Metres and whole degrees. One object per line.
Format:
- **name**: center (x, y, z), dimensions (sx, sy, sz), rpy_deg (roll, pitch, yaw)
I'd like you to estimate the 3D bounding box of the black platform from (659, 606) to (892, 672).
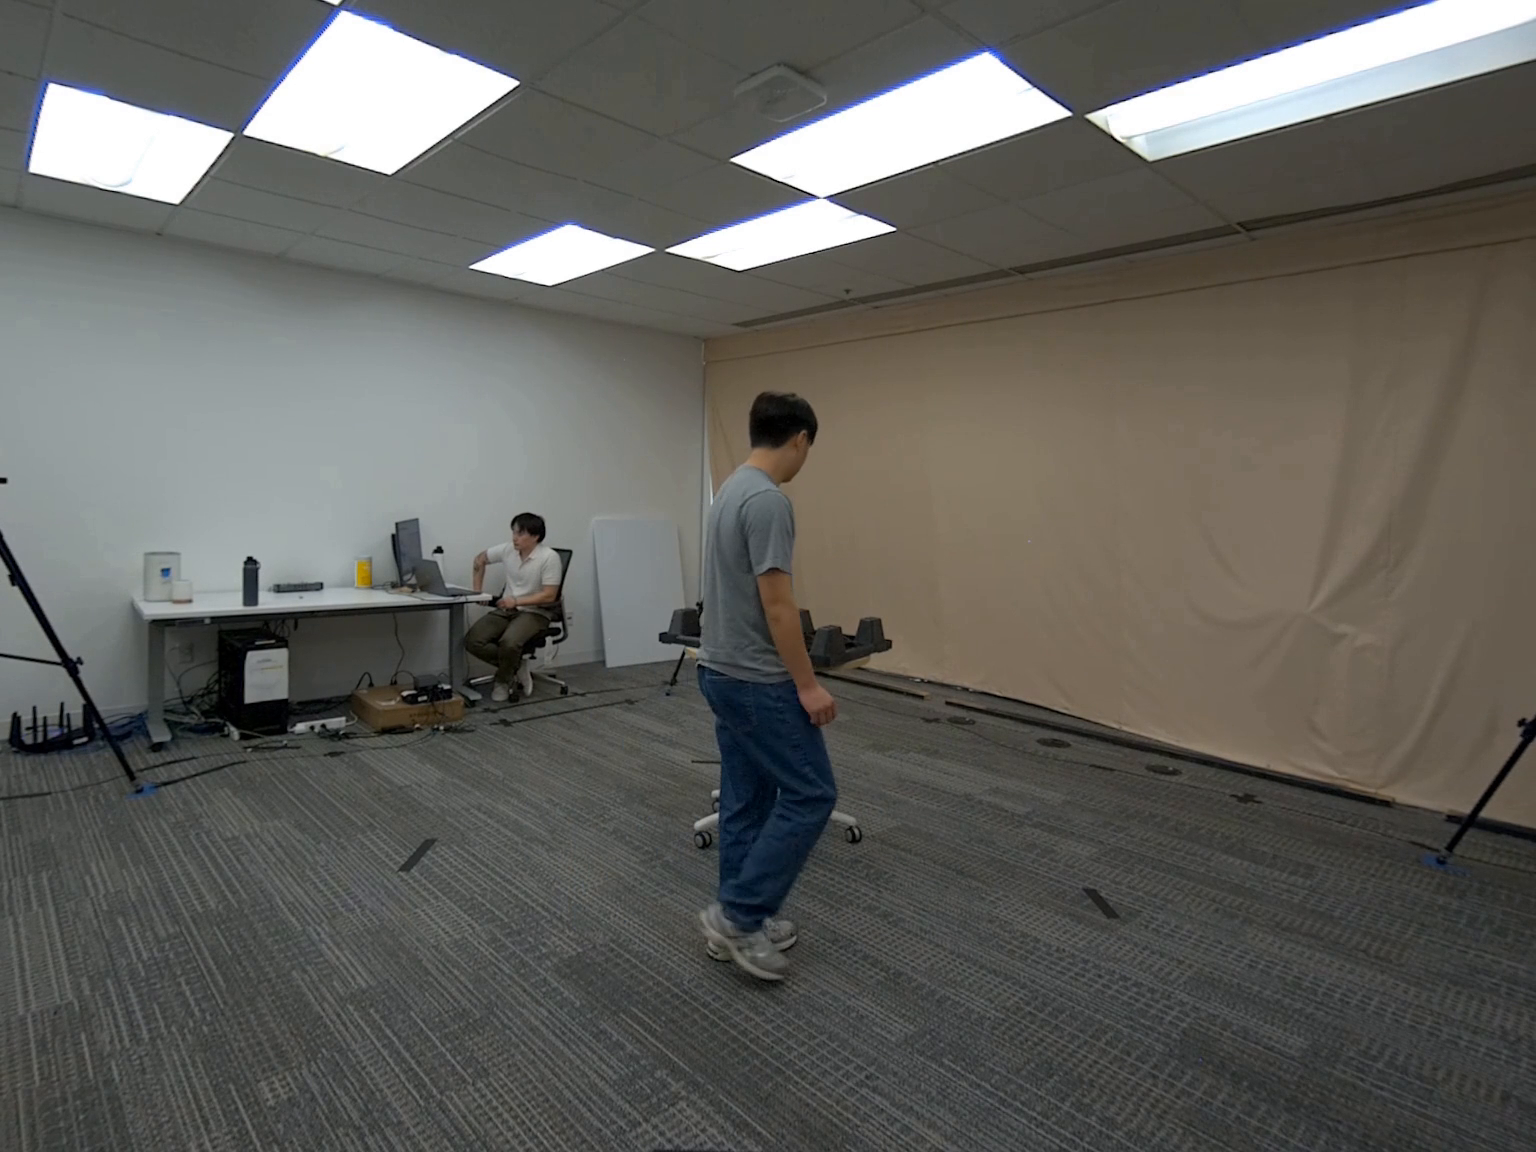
- **black platform**: center (0.022, 0.228, 3.521), dimensions (0.824, 0.143, 0.592), rpy_deg (5, 5, 32)
